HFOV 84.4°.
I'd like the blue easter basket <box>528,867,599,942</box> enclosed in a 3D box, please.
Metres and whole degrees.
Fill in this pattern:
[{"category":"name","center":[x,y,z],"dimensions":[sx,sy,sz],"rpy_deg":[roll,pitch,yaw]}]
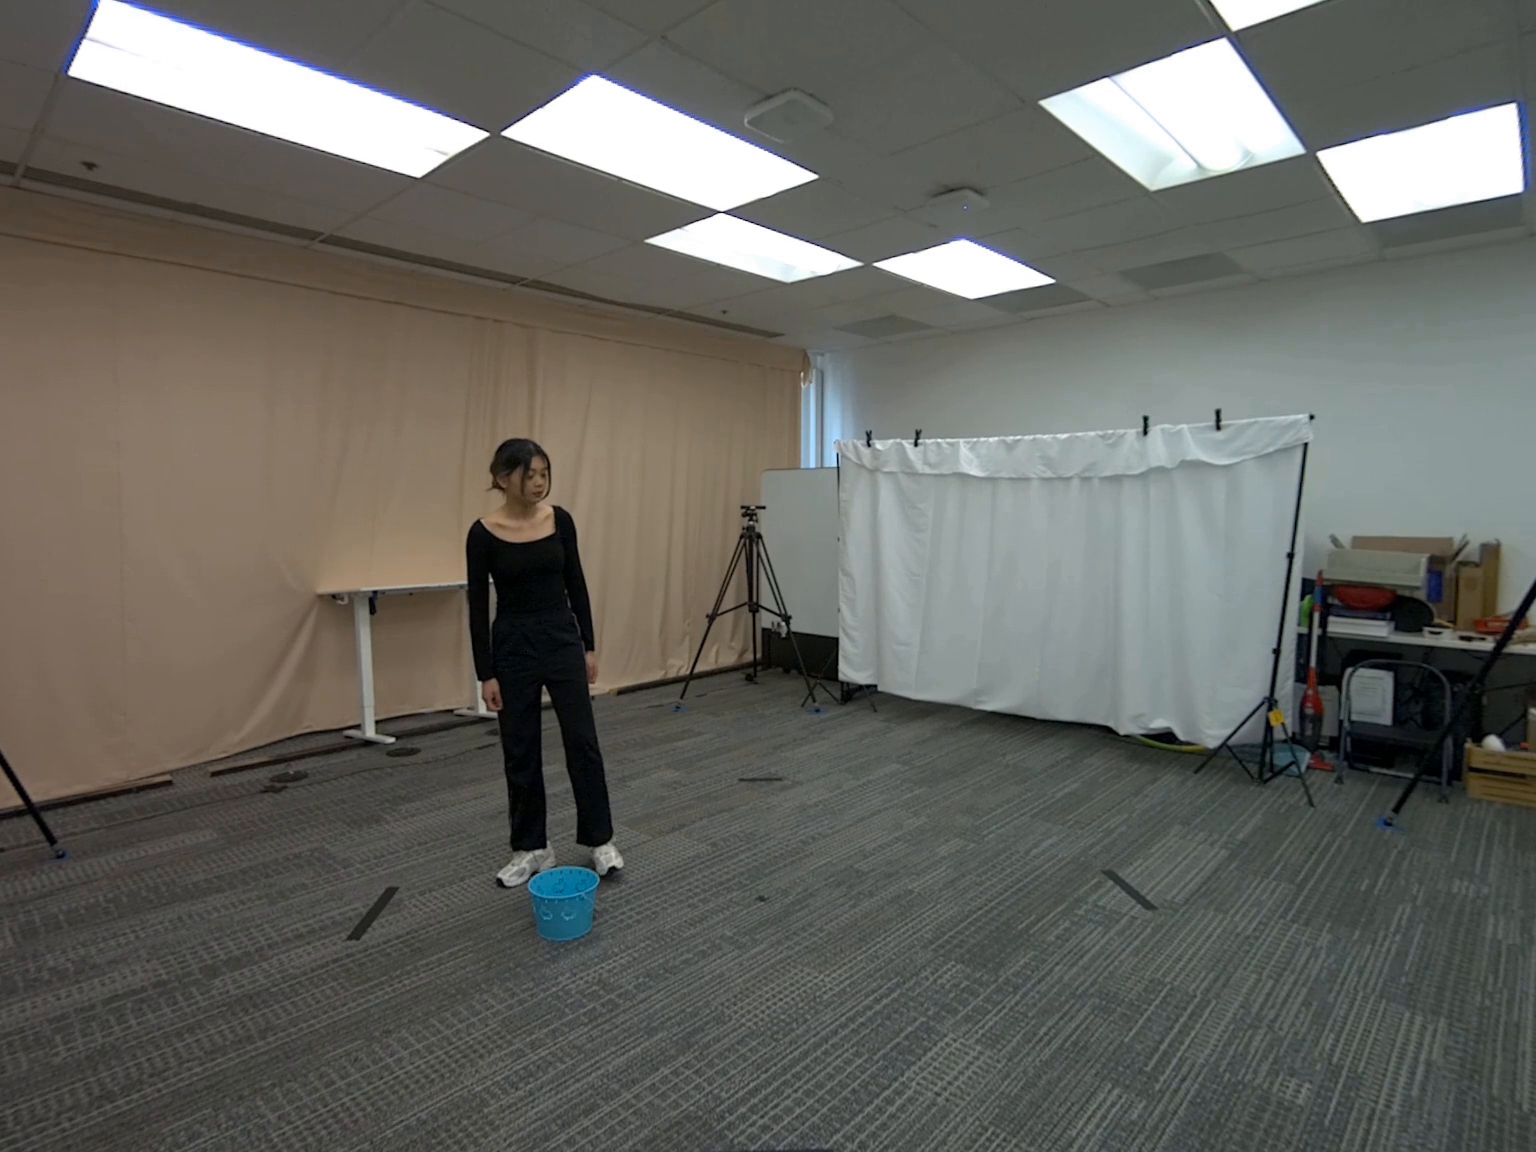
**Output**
[{"category":"blue easter basket","center":[-0.671,1.091,2.788],"dimensions":[0.243,0.155,0.244],"rpy_deg":[0,5,-2]}]
